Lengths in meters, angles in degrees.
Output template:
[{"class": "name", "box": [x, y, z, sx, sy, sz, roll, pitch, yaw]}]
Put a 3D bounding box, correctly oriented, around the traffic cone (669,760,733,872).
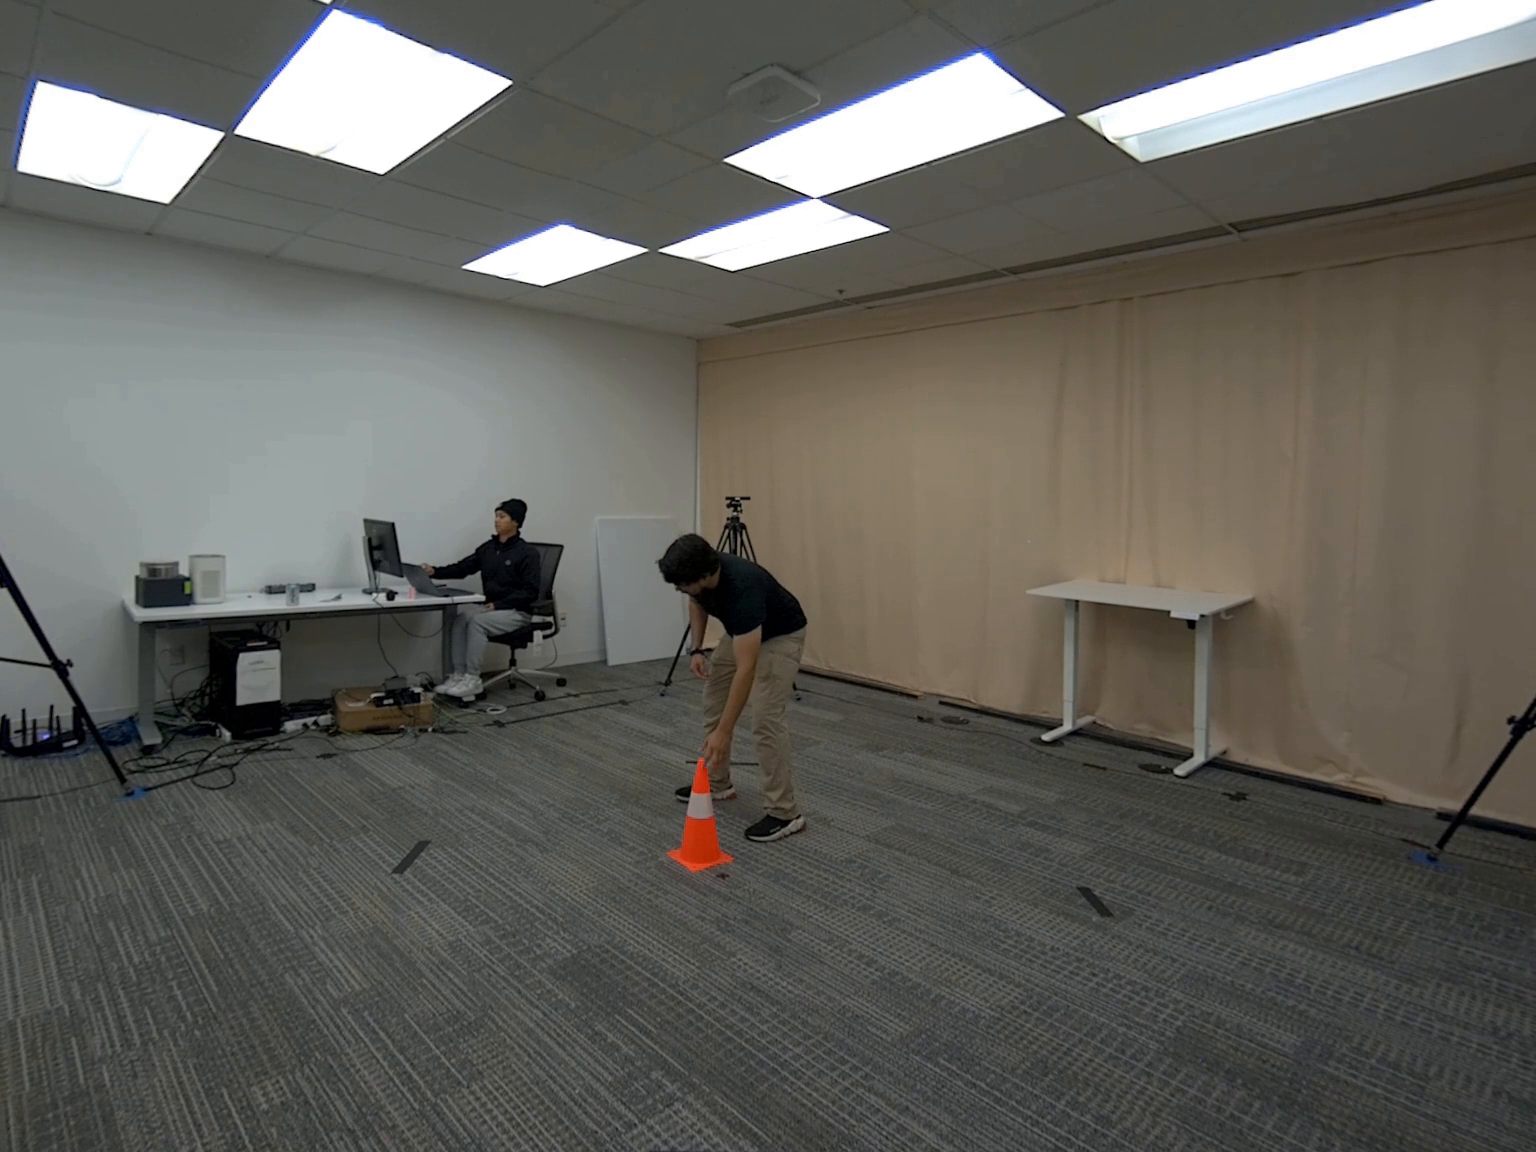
[{"class": "traffic cone", "box": [-0.272, 0.906, 3.265, 0.200, 0.383, 0.208, -1, 4, -36]}]
